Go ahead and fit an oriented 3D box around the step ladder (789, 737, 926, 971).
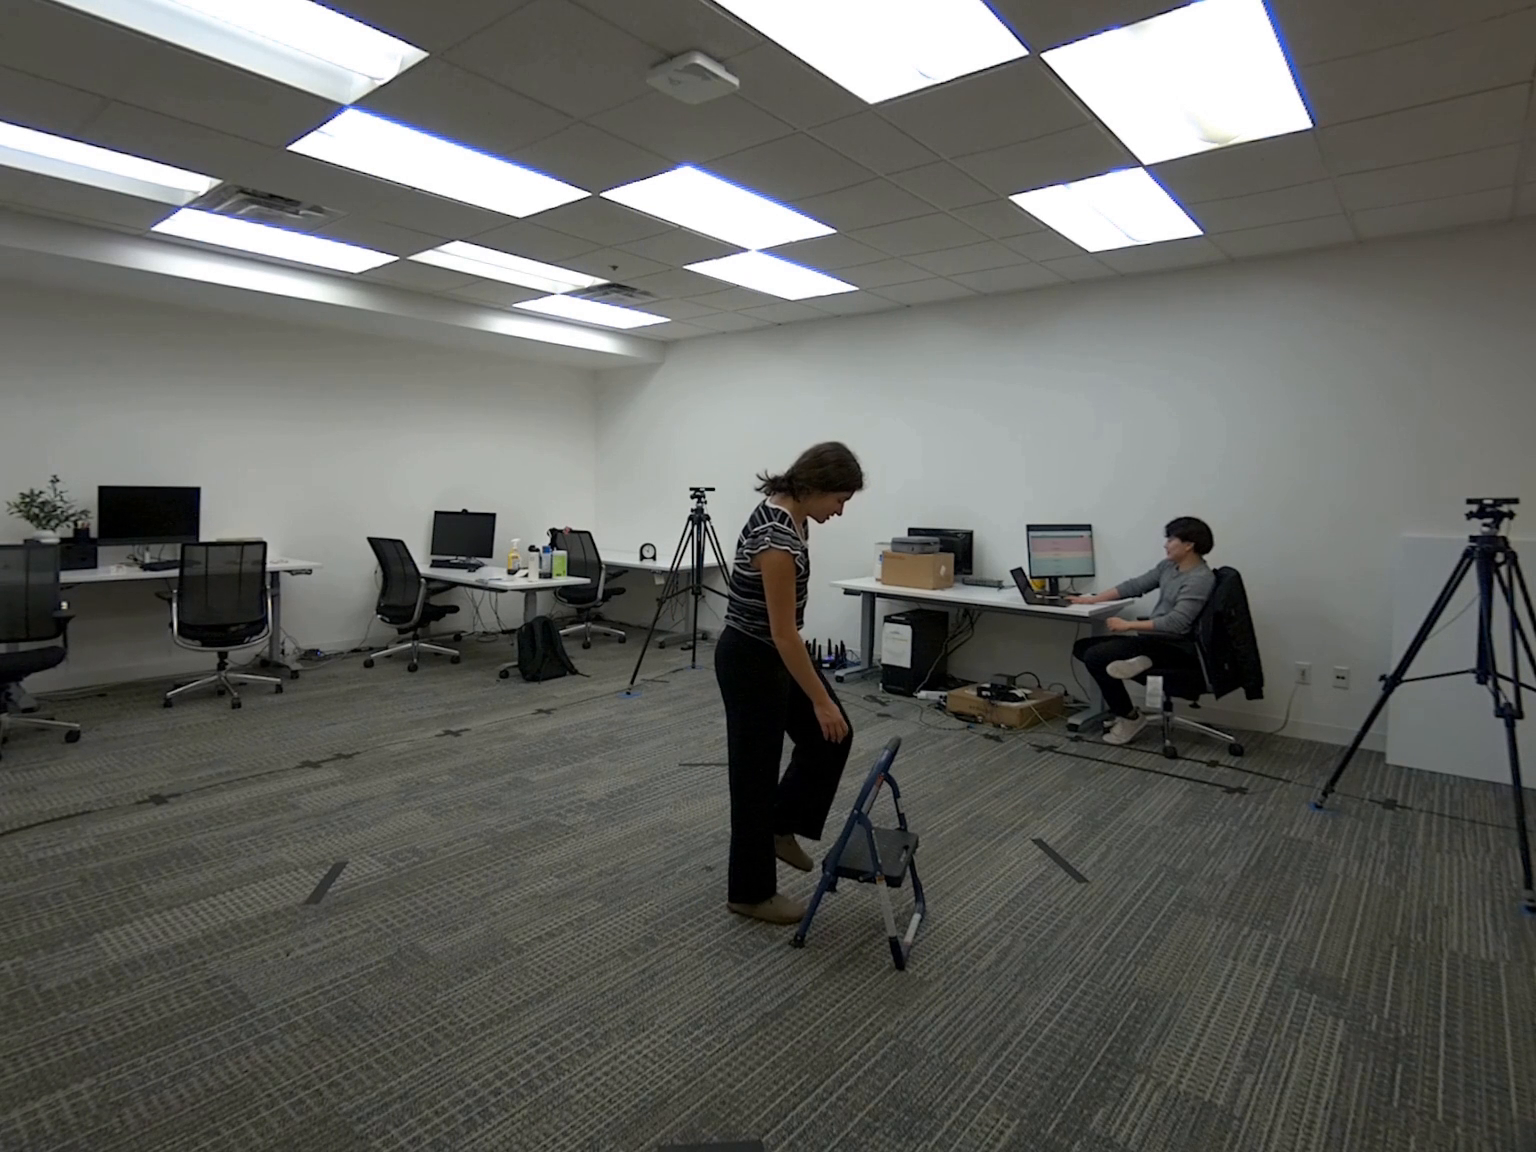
[{"bbox_3d":[0.301,0.818,2.701,0.357,0.604,0.422,3,4,20],"label":"step ladder"}]
